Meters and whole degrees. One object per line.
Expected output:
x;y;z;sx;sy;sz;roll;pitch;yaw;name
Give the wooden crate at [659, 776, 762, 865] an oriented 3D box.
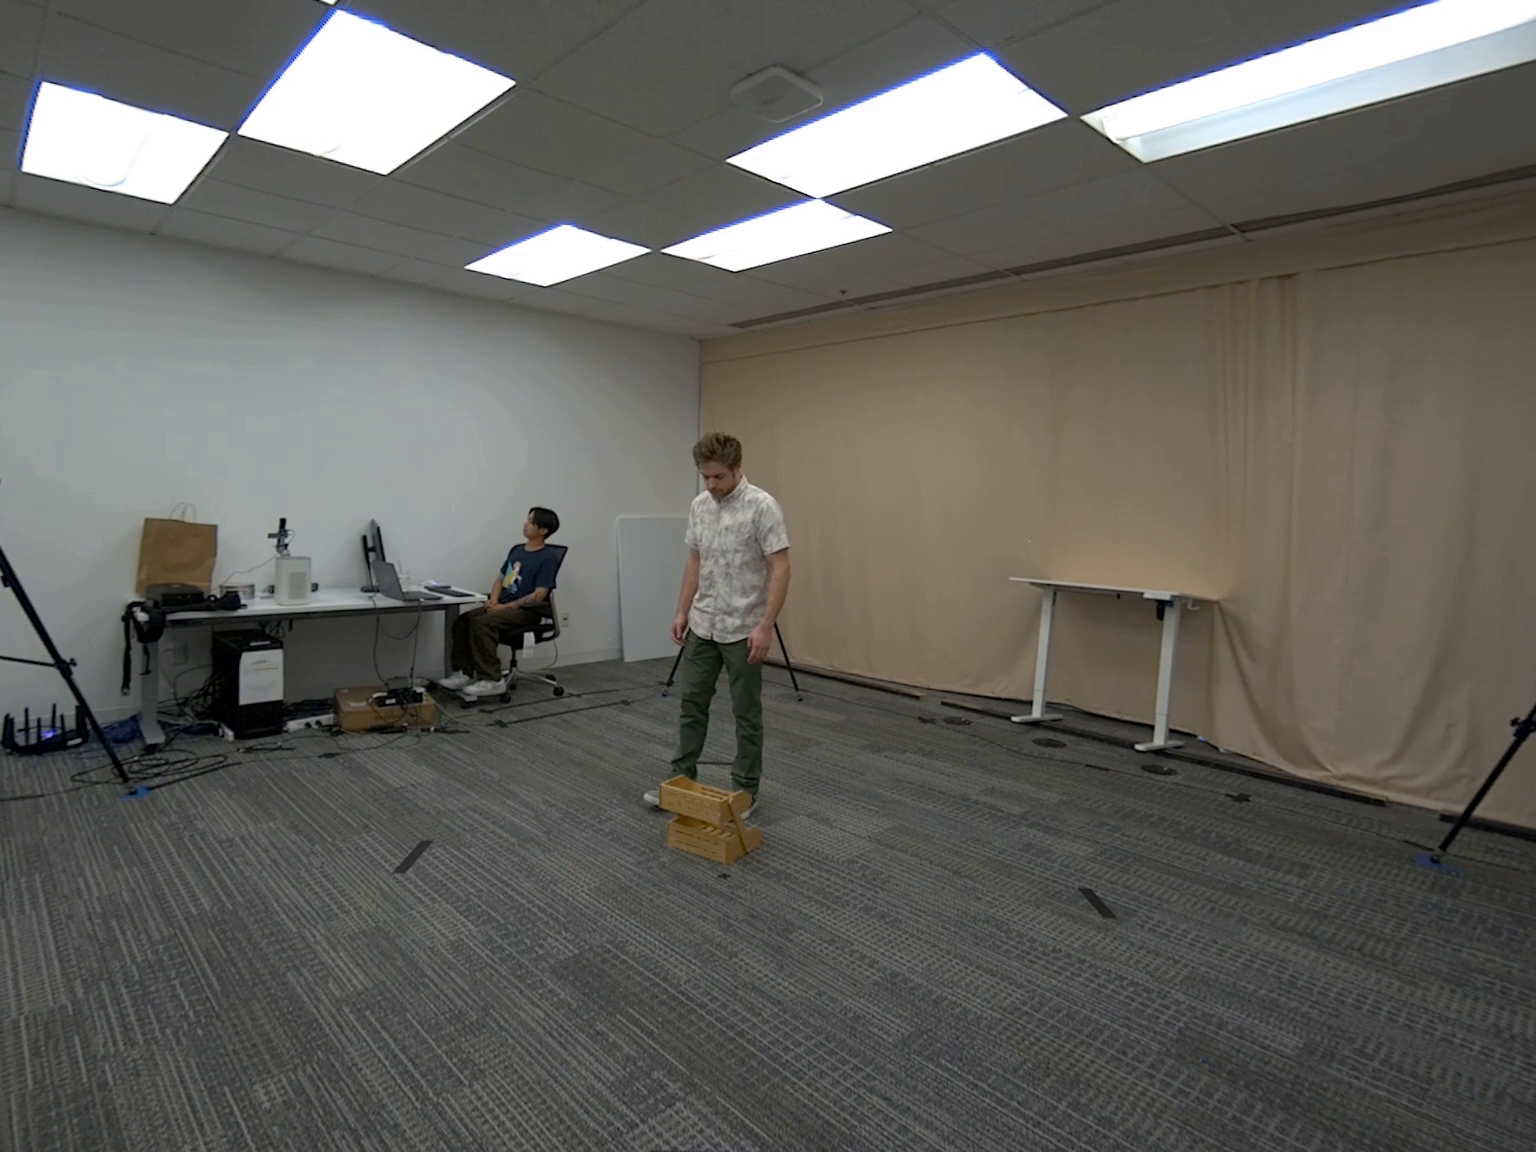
-0.241;0.956;3.364;0.332;0.272;0.296;5;8;35;wooden crate
